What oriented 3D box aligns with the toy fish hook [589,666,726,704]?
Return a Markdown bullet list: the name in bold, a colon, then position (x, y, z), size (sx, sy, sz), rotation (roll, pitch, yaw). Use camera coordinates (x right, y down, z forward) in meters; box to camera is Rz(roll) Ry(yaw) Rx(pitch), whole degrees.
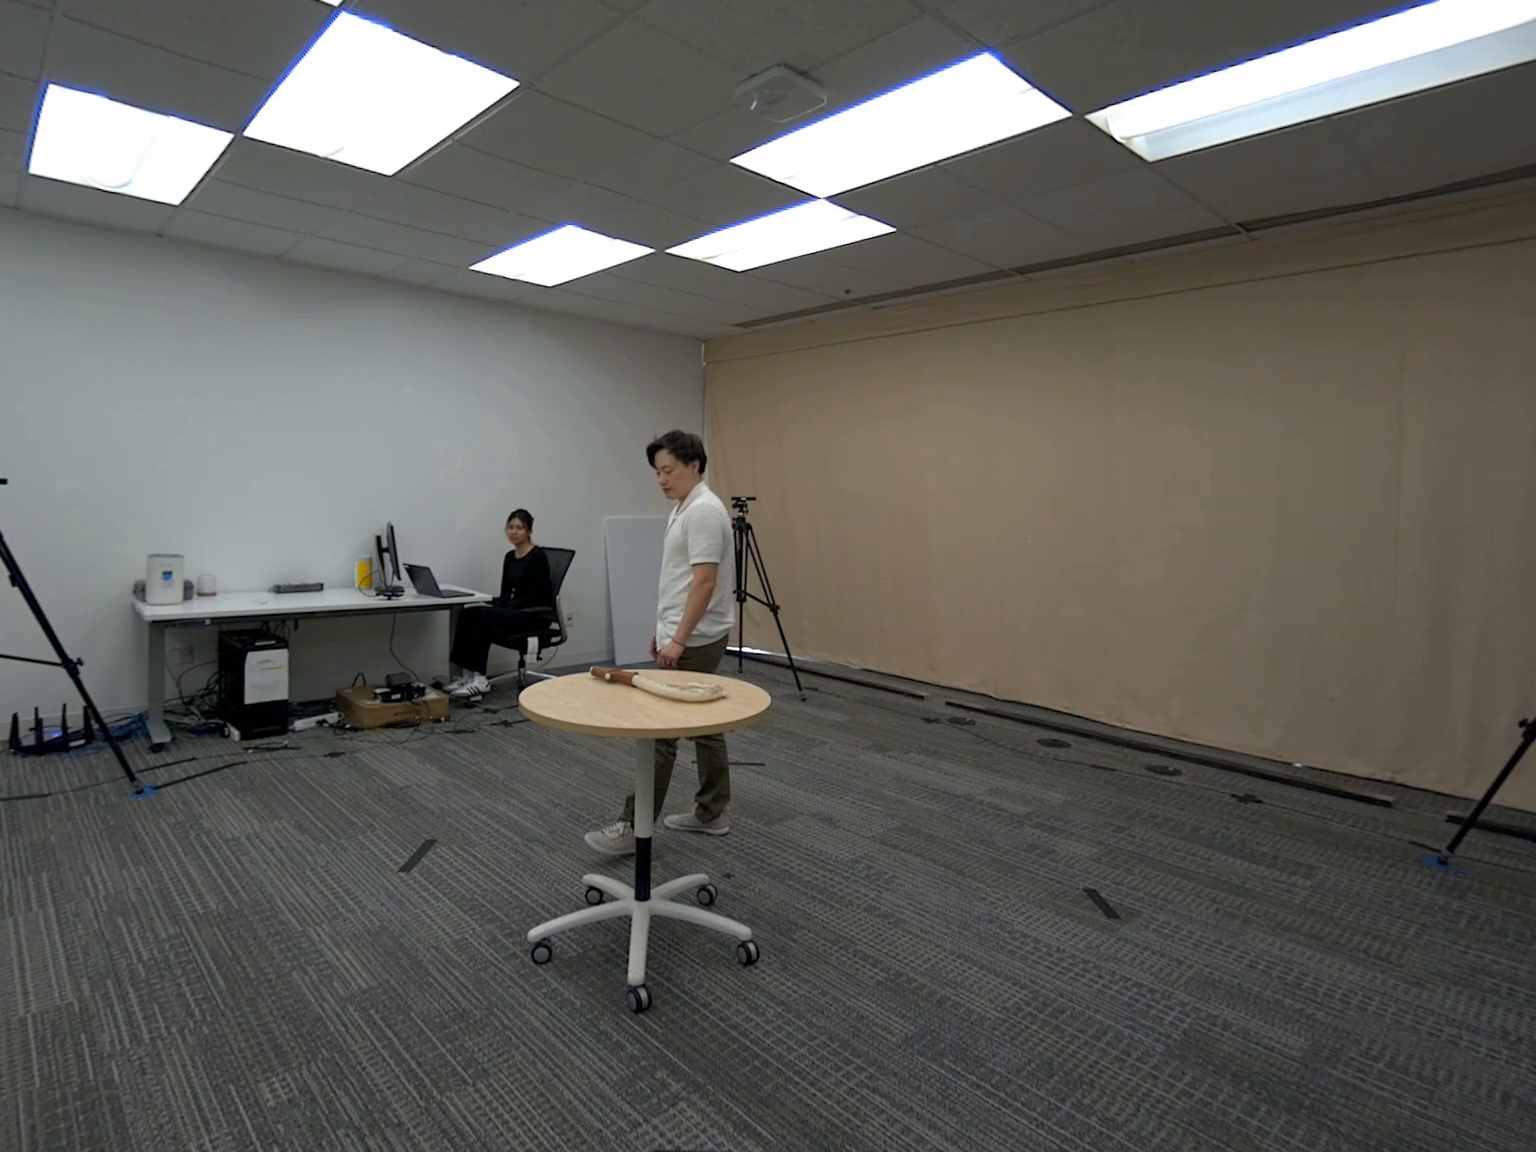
- **toy fish hook**: position (-0.371, 0.348, 2.690), size (0.519, 0.048, 0.219), rotation (7, -1, 38)
